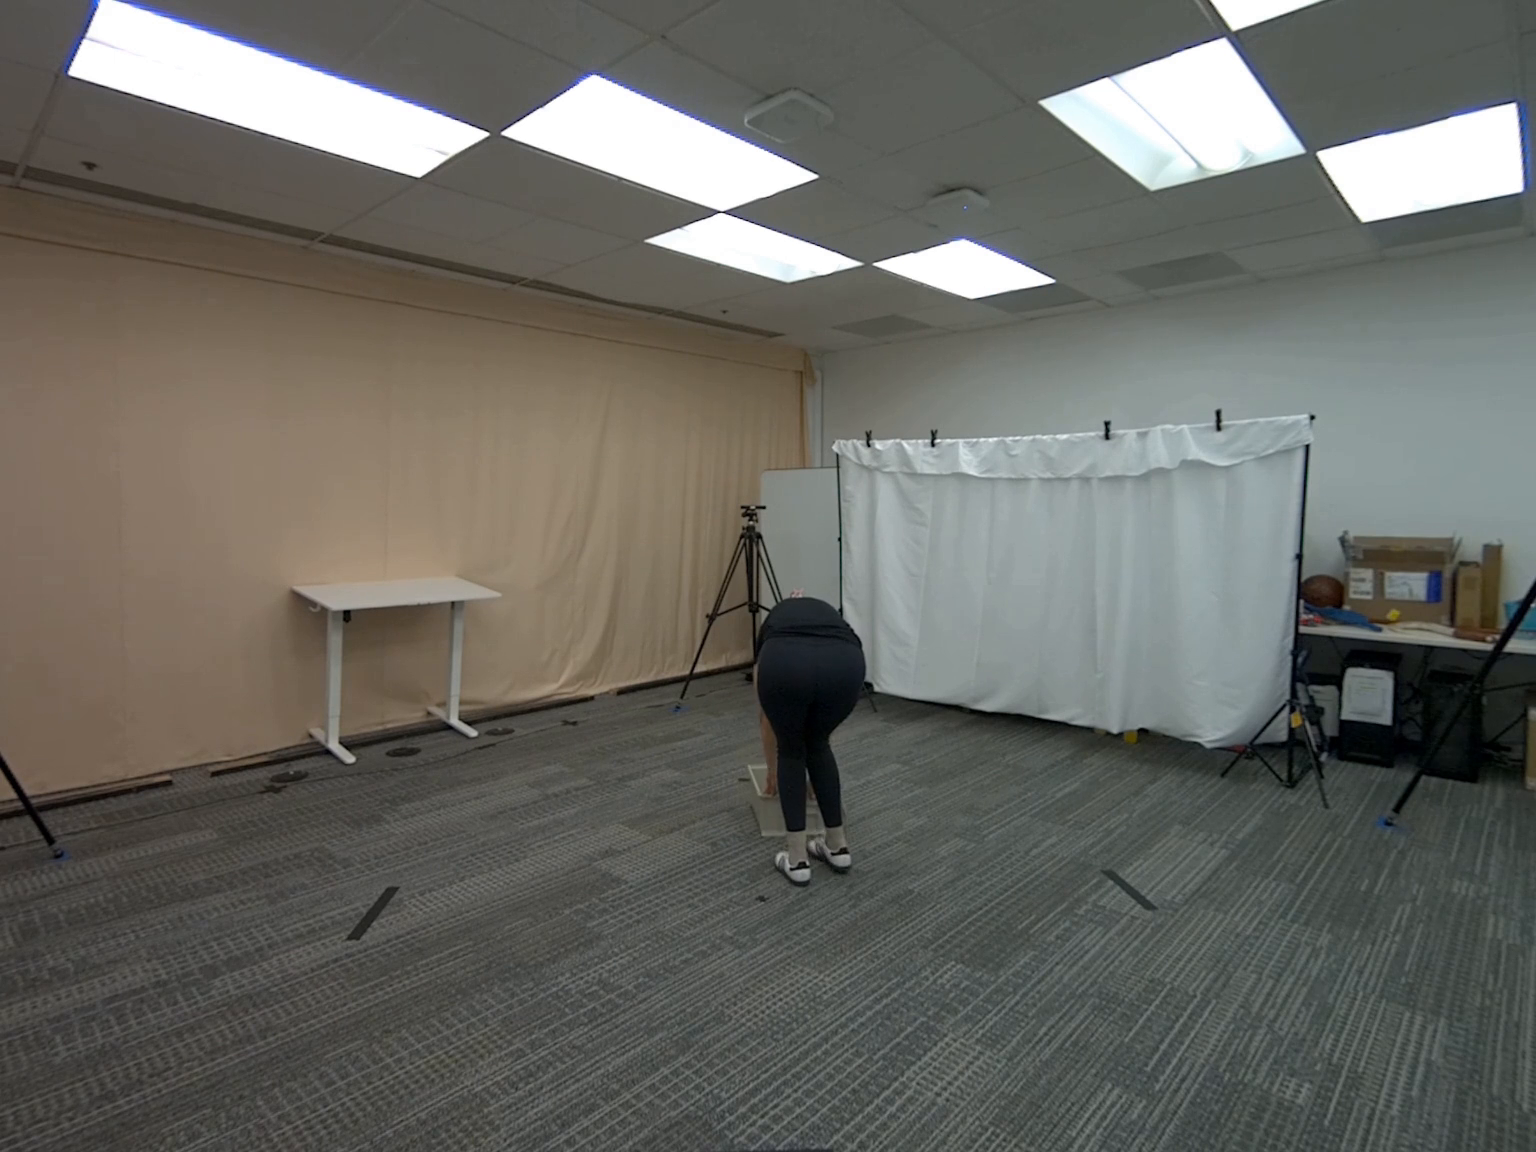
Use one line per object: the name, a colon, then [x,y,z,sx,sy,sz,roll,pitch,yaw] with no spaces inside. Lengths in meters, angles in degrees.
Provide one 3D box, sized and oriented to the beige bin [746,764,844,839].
beige bin: [0.117,0.986,3.759,0.375,0.188,0.426,-2,5,-7]
